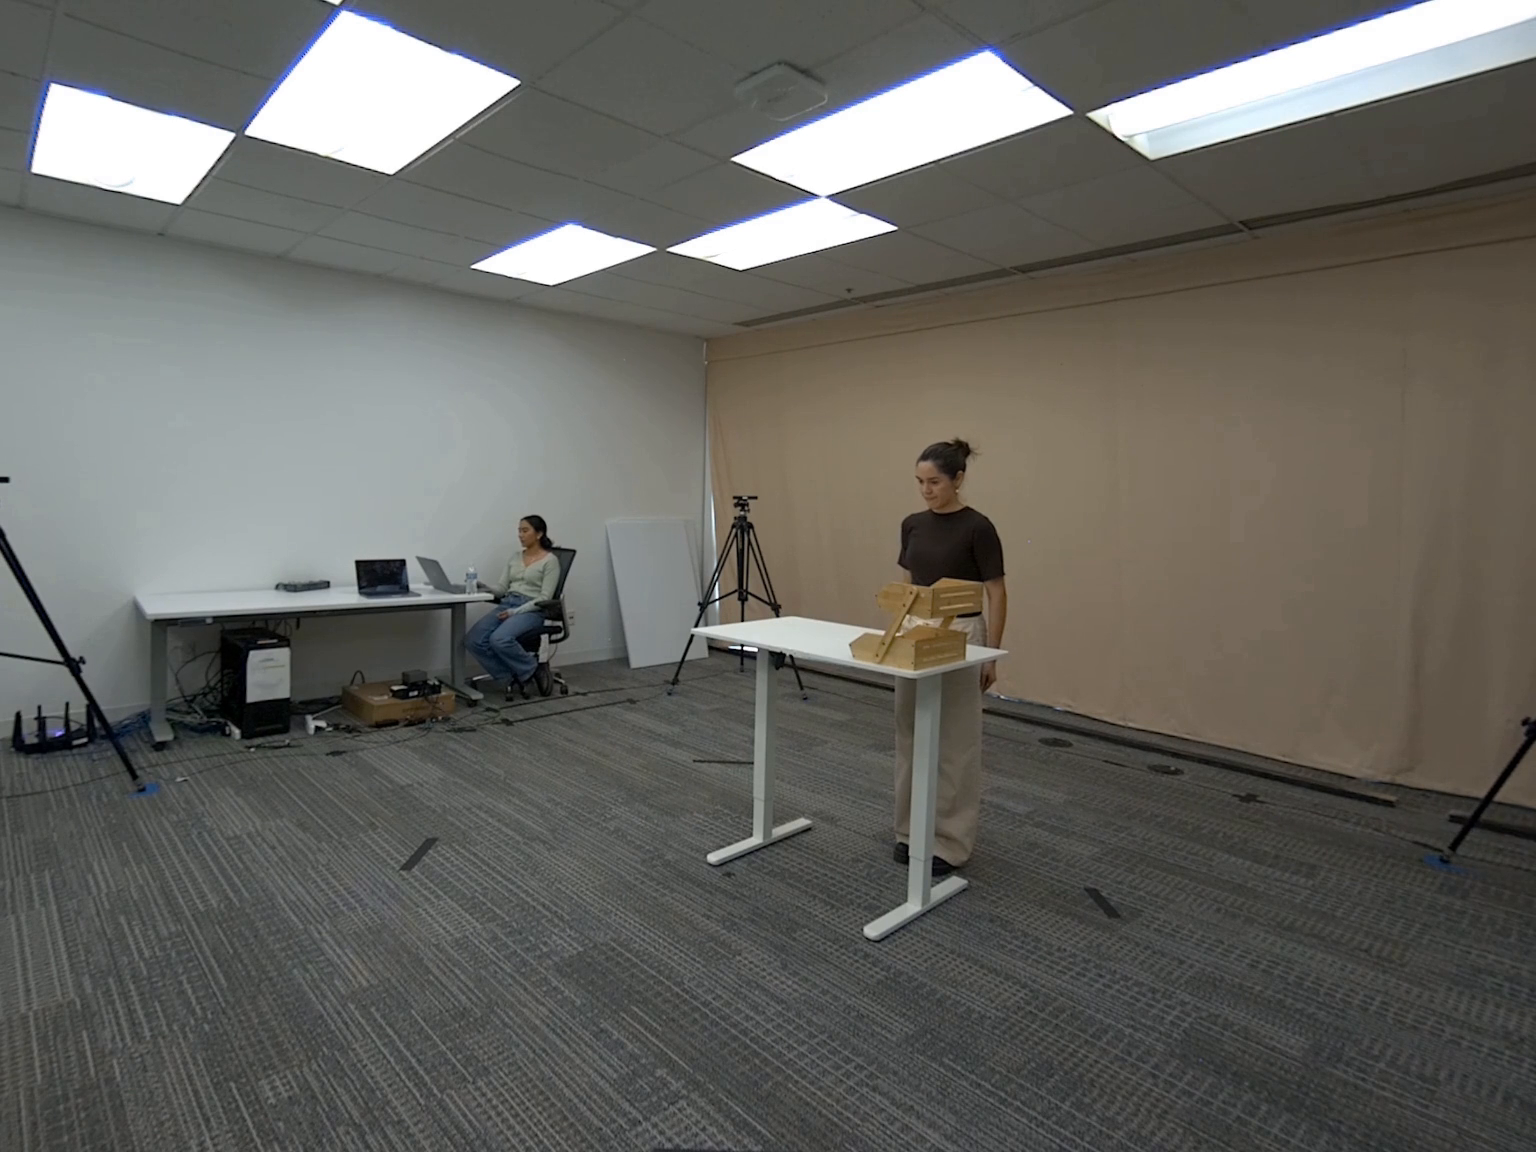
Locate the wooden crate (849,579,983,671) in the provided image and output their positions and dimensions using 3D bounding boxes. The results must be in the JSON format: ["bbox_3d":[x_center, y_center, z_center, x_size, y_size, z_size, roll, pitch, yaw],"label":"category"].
[{"bbox_3d":[0.469,0.140,2.715,0.310,0.272,0.317,8,7,44],"label":"wooden crate"}]
